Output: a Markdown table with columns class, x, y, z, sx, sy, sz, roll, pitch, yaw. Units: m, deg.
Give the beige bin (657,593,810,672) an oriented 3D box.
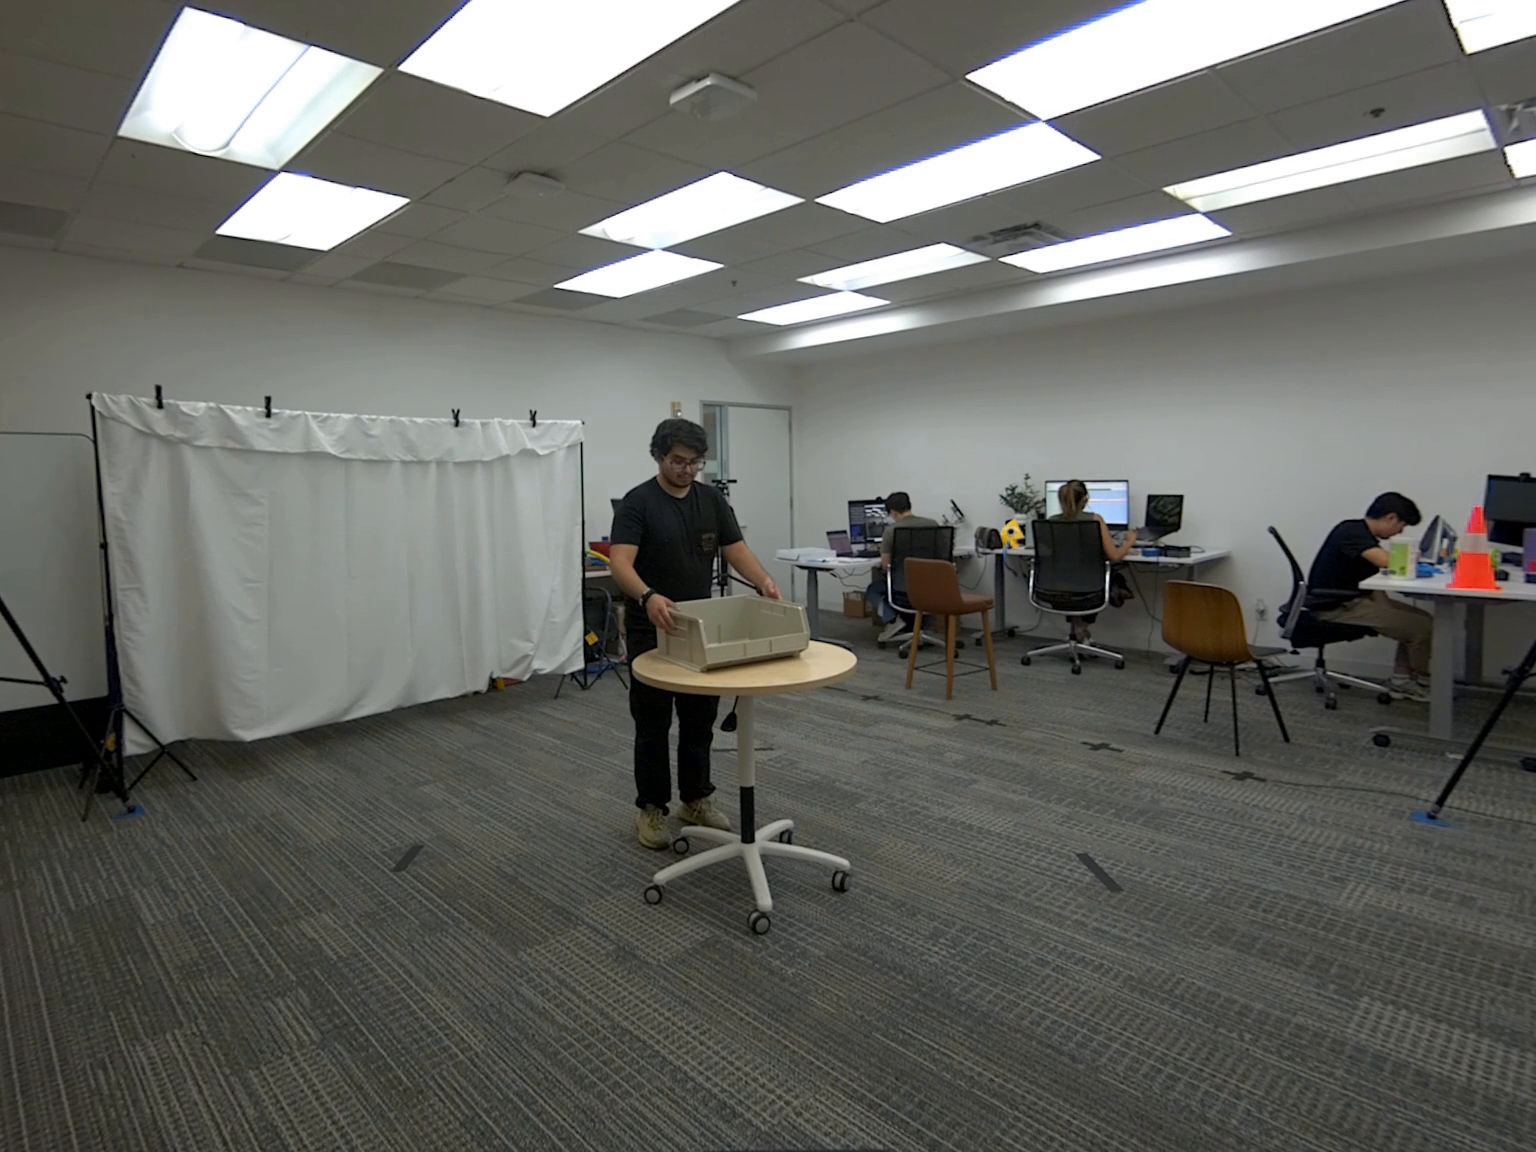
| class | x | y | z | sx | sy | sz | roll | pitch | yaw |
| --- | --- | --- | --- | --- | --- | --- | --- | --- | --- |
| beige bin | -0.134 | 0.191 | 2.963 | 0.412 | 0.188 | 0.388 | -6 | 7 | -32 |
